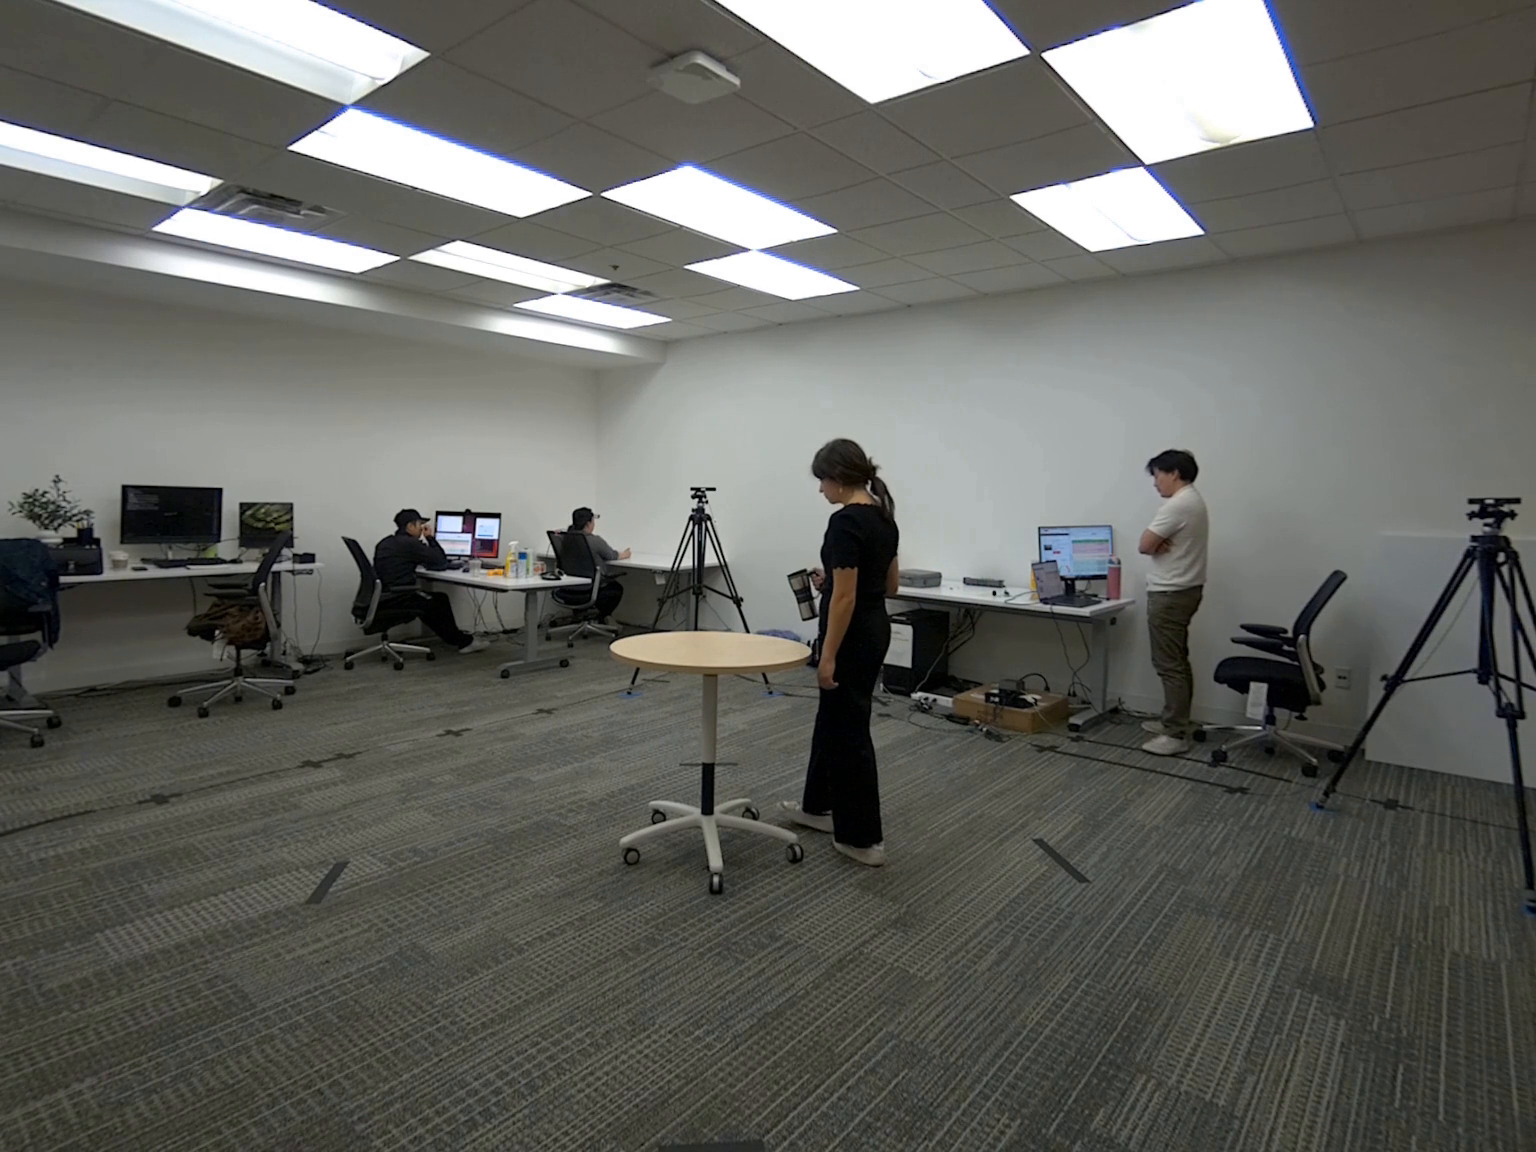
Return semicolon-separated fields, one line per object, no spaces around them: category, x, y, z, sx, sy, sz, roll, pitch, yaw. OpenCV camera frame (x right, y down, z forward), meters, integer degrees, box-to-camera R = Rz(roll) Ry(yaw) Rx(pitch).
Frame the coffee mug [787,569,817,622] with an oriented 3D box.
coffee mug;0.131;0.082;3.482;0.119;0.203;0.090;-8;-2;-35
